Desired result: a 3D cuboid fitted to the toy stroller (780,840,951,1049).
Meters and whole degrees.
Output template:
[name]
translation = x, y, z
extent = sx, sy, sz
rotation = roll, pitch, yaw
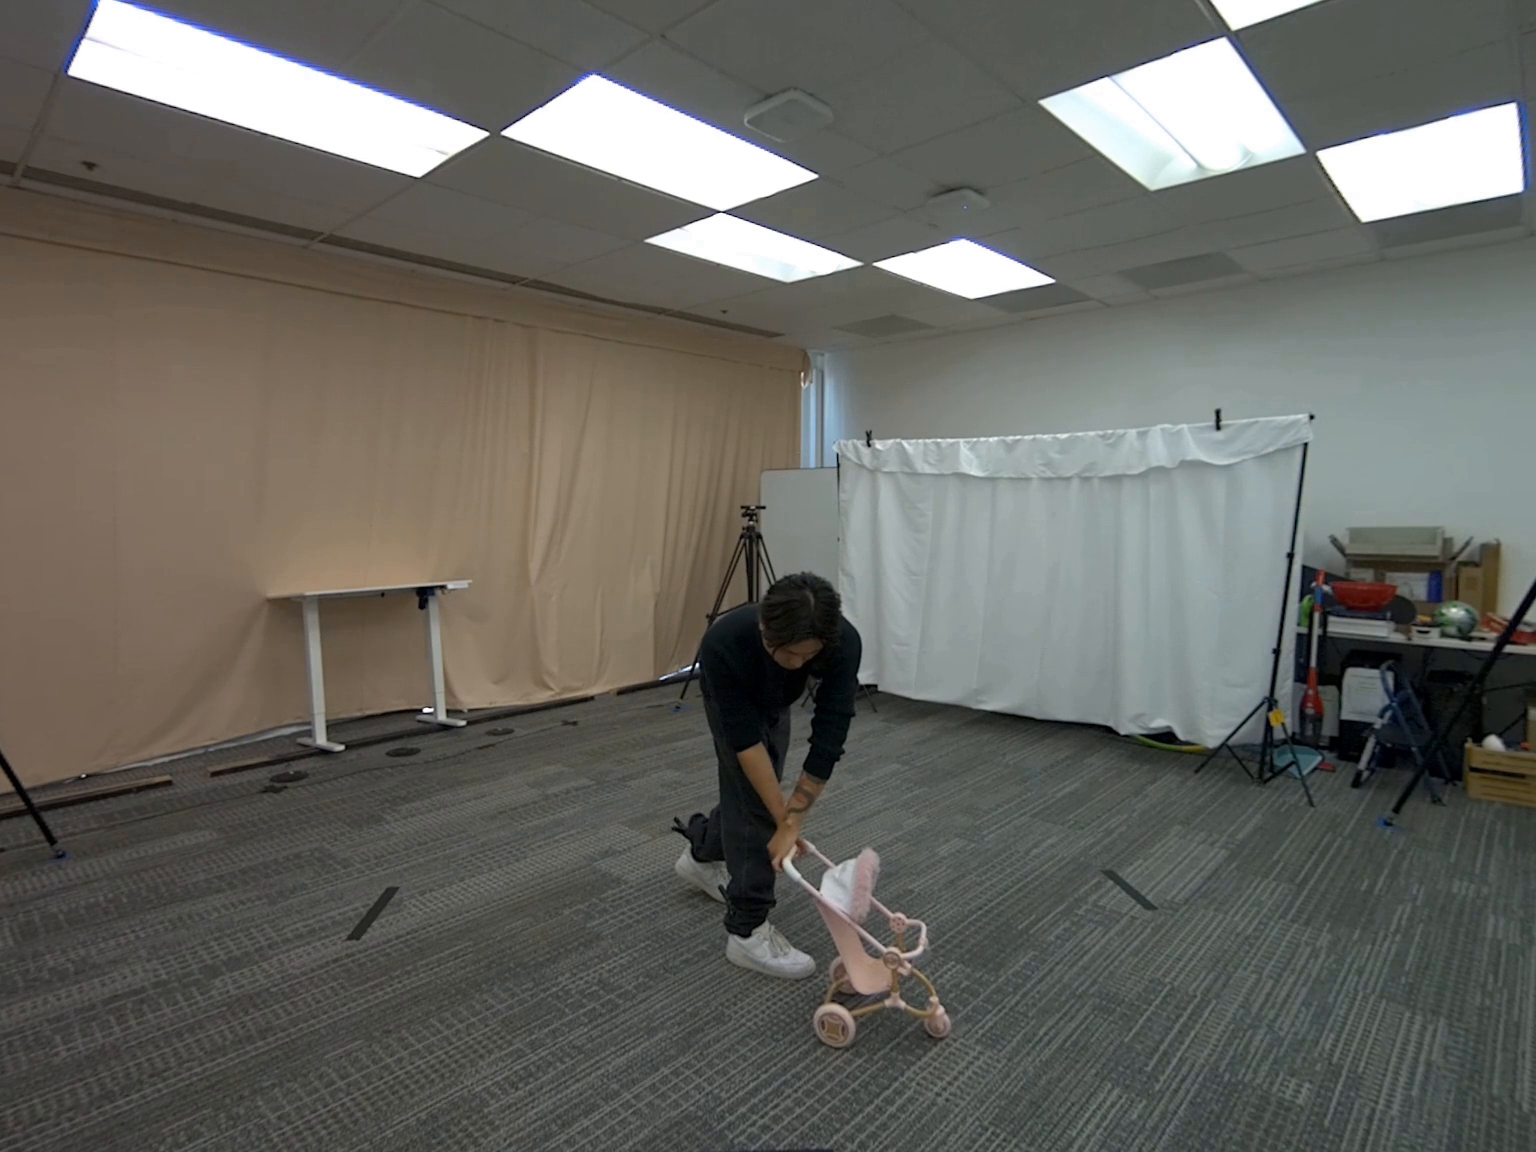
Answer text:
[toy stroller]
translation = 0.278, 0.978, 2.246
extent = 0.348, 0.536, 0.276
rotation = -13, -1, 21
